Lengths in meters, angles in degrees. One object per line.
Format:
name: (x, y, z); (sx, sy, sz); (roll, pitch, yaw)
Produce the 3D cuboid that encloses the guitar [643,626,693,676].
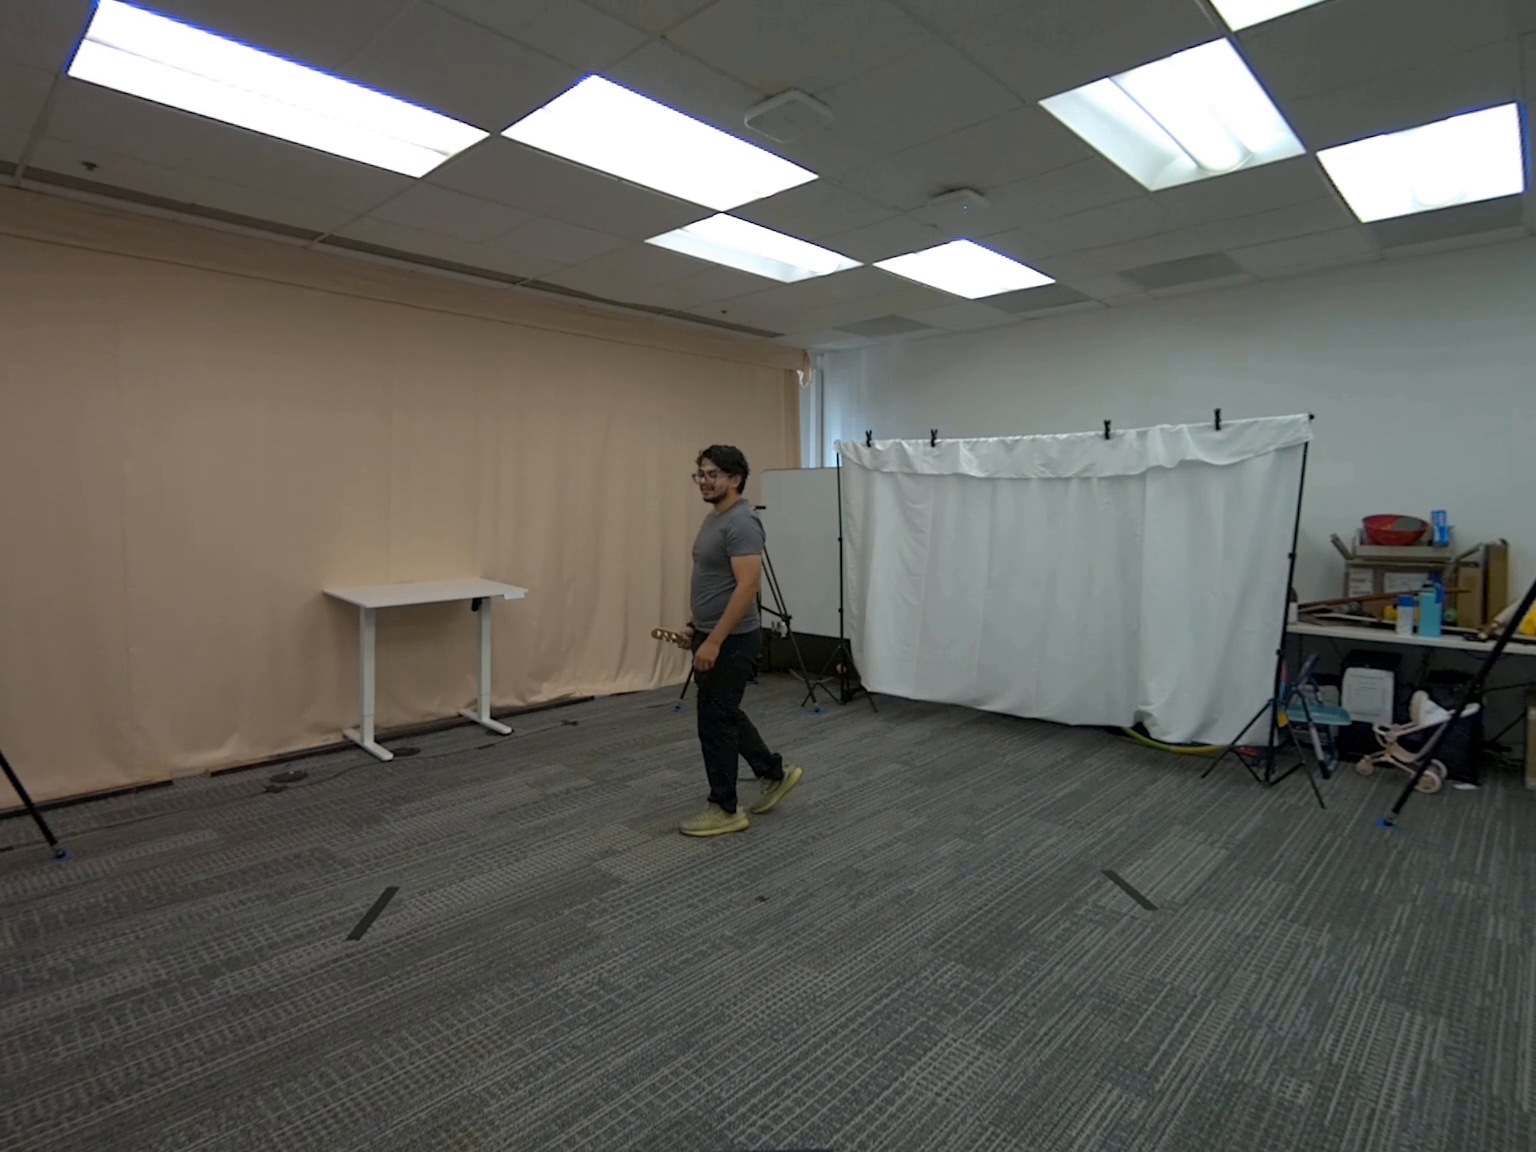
guitar: (-0.306, 0.355, 3.885); (0.486, 0.192, 0.073); (8, 25, -22)
